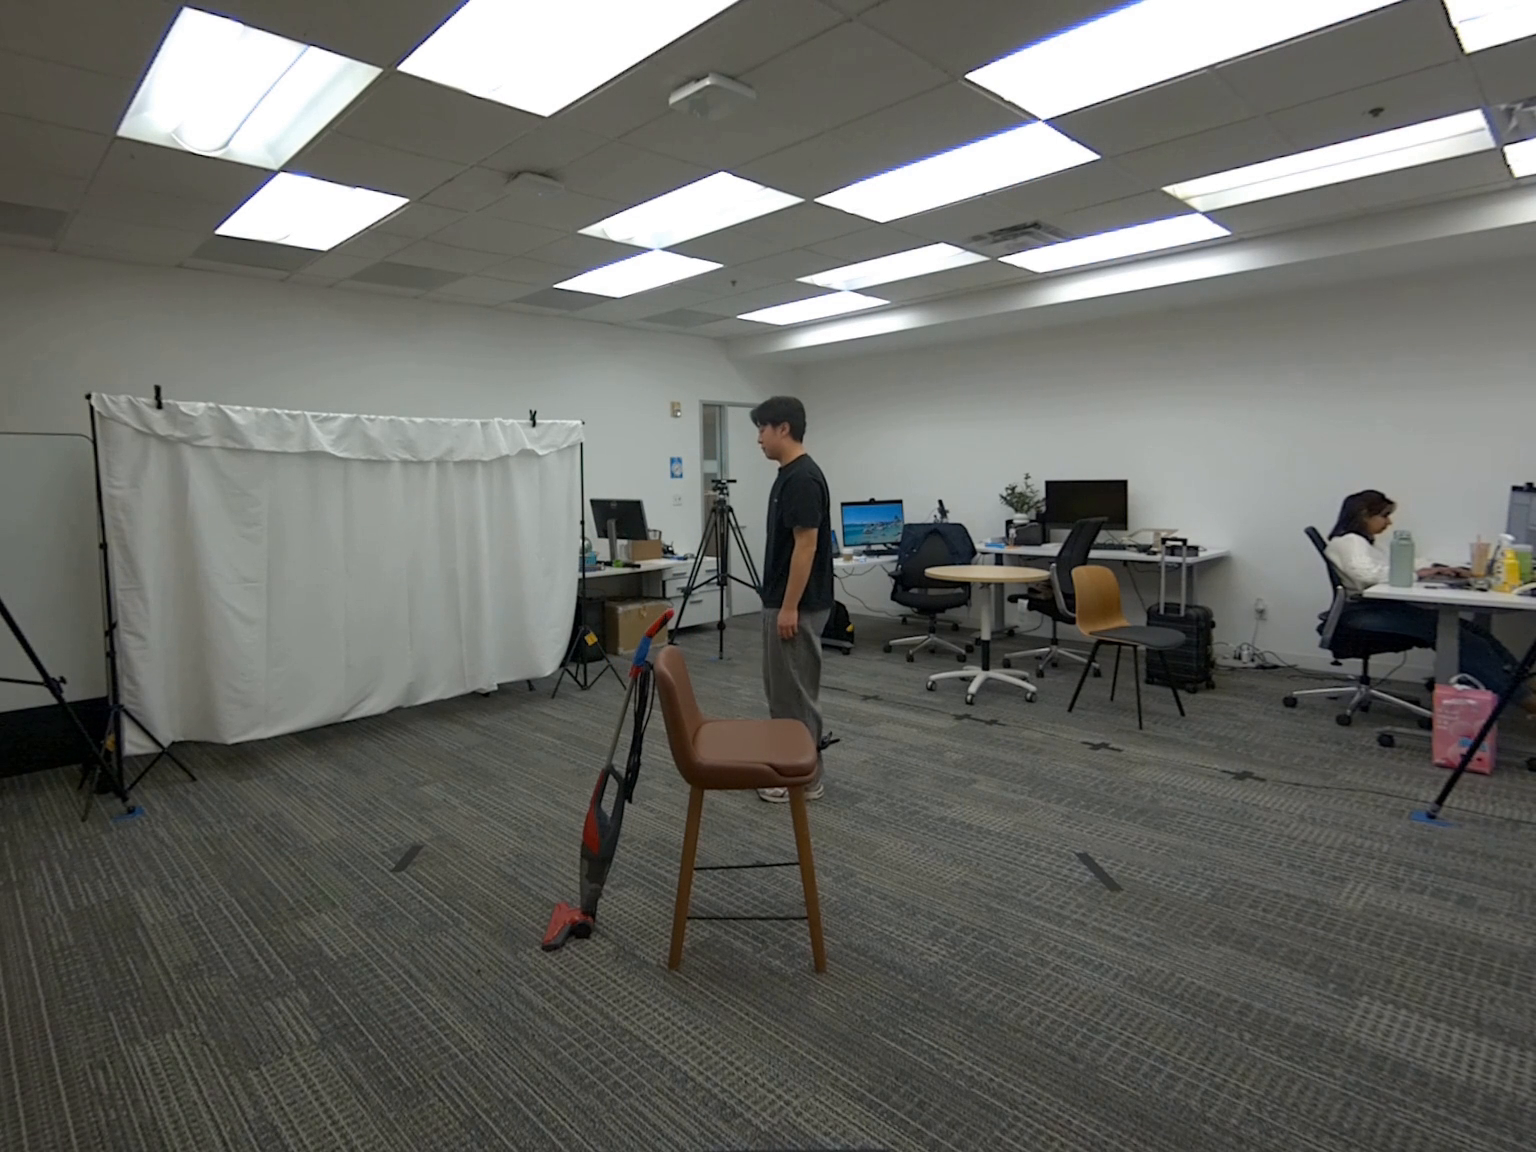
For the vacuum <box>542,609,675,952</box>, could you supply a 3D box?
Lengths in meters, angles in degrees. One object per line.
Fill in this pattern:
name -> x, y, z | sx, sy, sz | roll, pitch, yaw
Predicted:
vacuum -> -0.466, 0.604, 2.662 | 0.142, 1.048, 0.257 | 16, 2, -14
